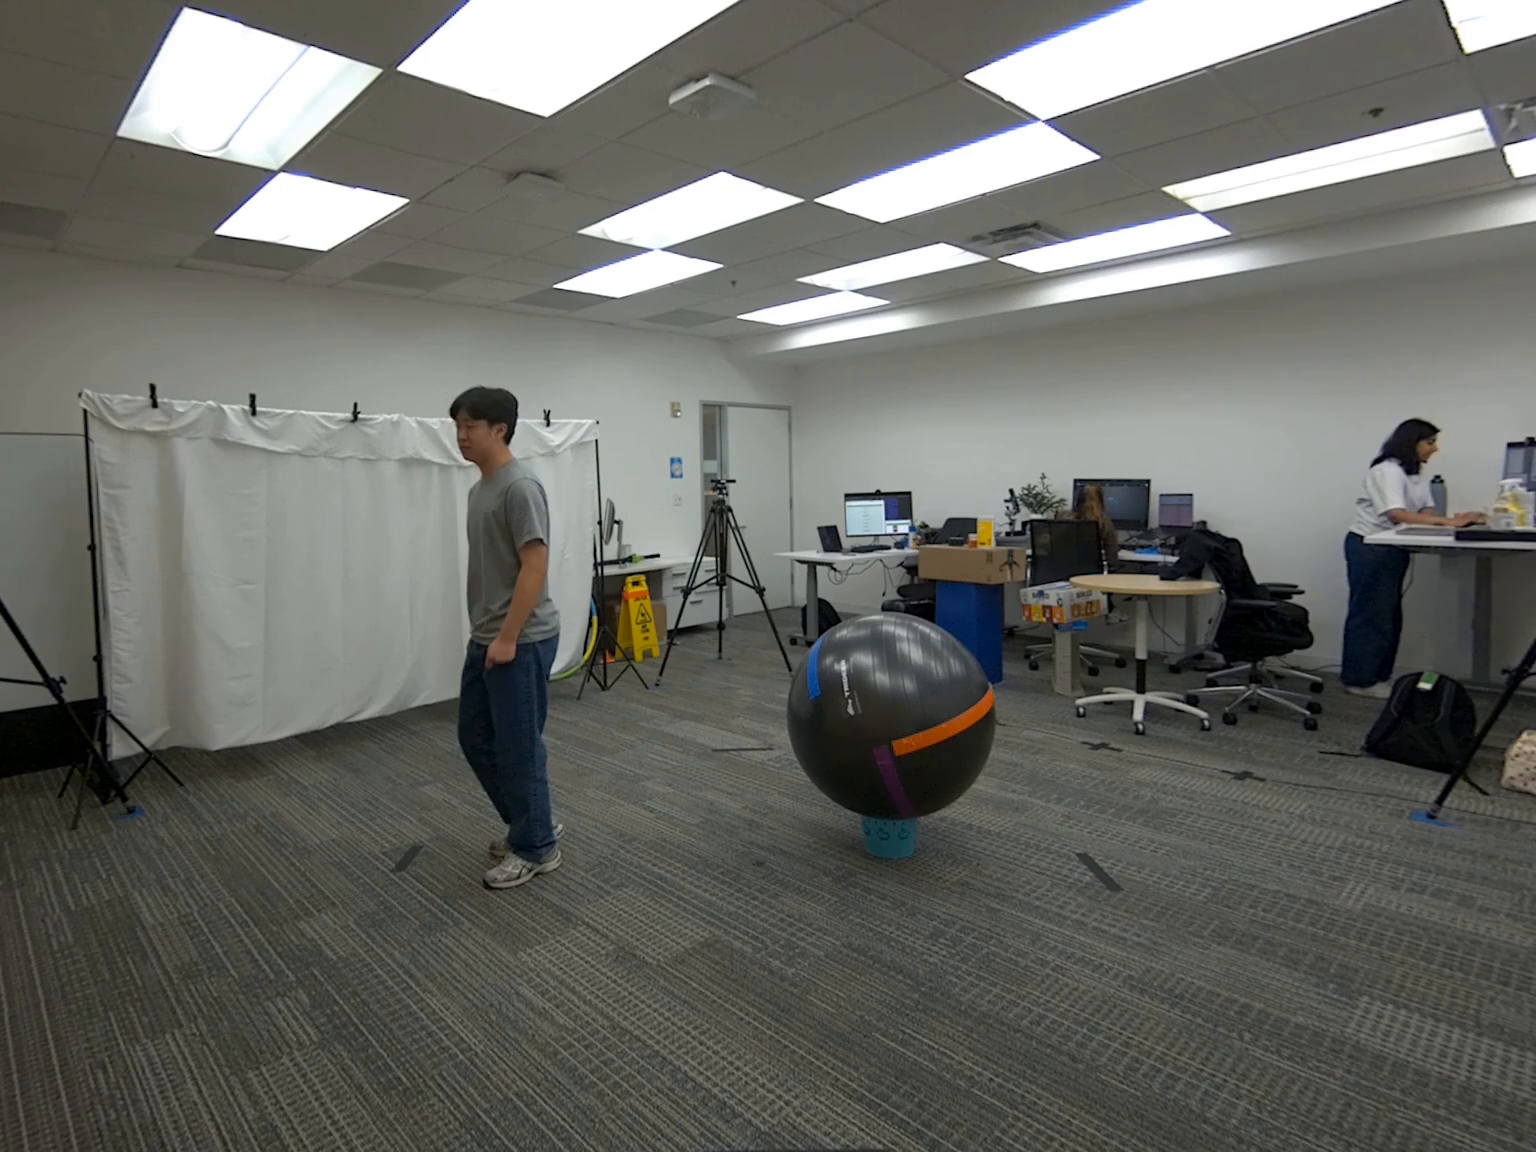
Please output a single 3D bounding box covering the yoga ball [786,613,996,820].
[{"bbox_3d":[0.456,0.517,3.201,0.757,0.755,0.762,-1,5,-2],"label":"yoga ball"}]
